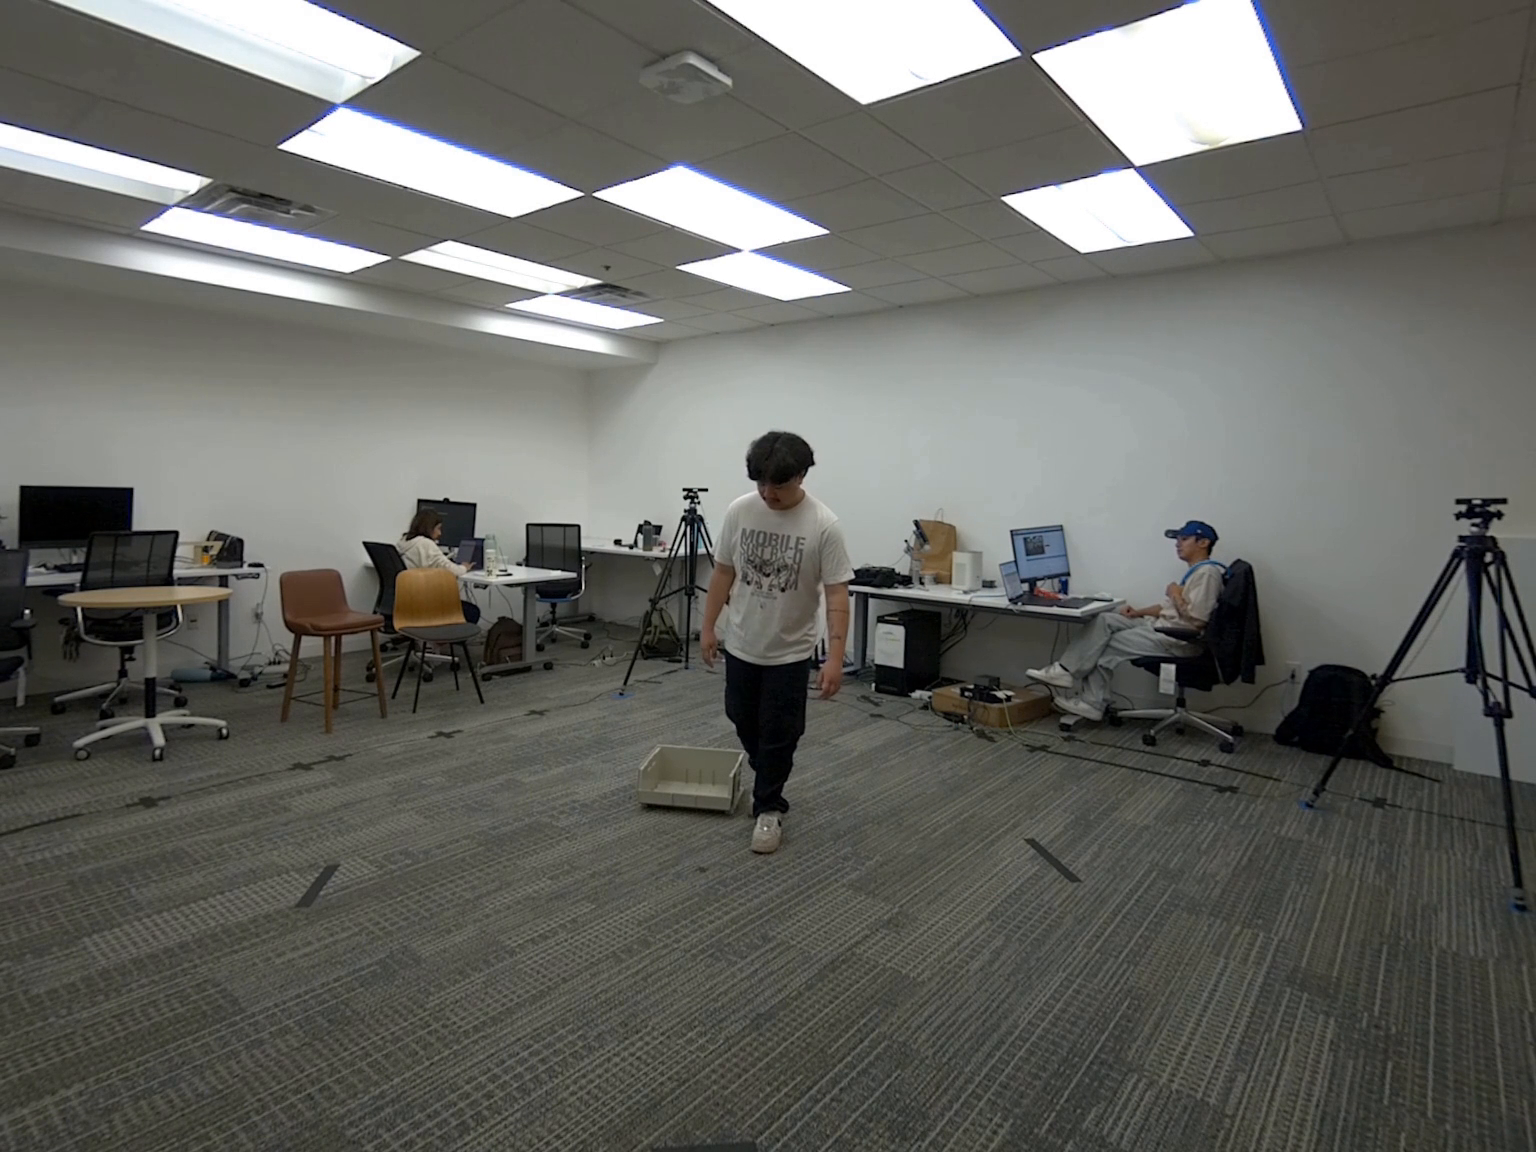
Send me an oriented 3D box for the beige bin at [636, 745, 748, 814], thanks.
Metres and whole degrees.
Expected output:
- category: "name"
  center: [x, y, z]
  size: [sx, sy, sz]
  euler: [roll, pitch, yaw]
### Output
- category: "beige bin"
  center: [-0.348, 0.910, 3.814]
  size: [0.427, 0.188, 0.375]
  euler: [1, 4, 8]
